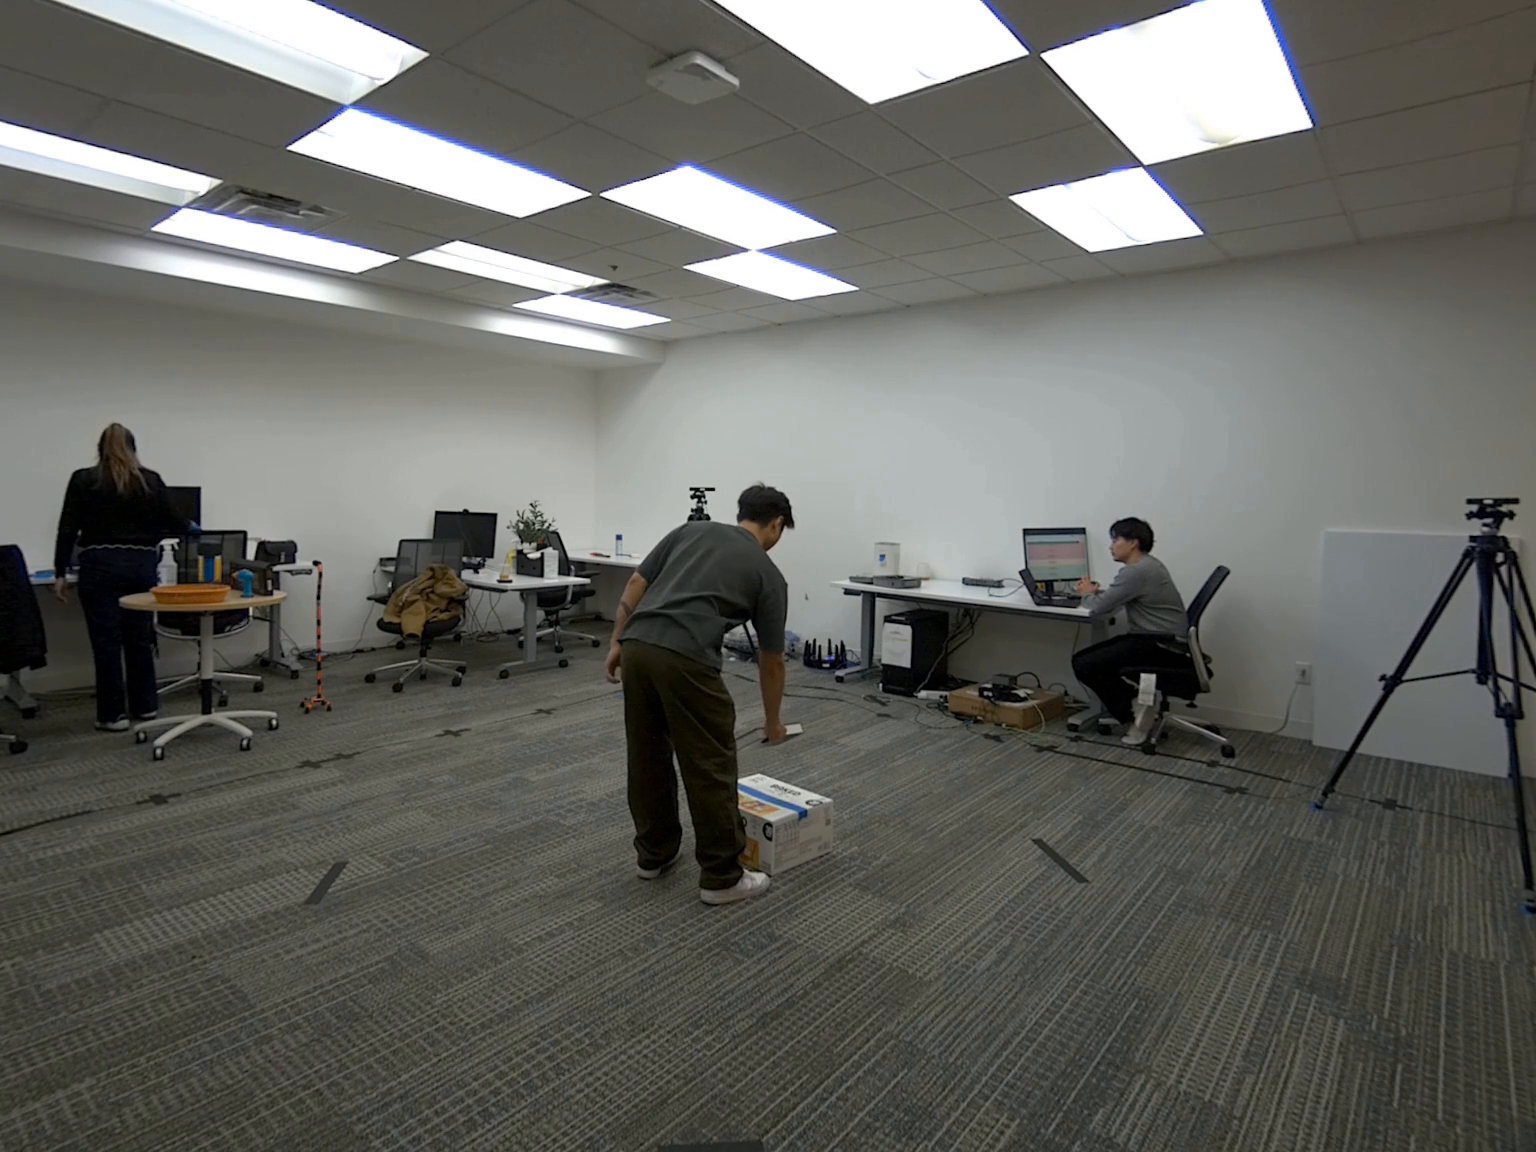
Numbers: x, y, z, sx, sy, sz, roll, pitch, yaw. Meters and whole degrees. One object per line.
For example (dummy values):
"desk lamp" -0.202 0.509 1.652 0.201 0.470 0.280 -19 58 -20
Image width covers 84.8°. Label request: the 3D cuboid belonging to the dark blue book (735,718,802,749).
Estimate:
"dark blue book" -0.020 0.613 3.259 0.237 0.046 0.164 0 -26 -41
